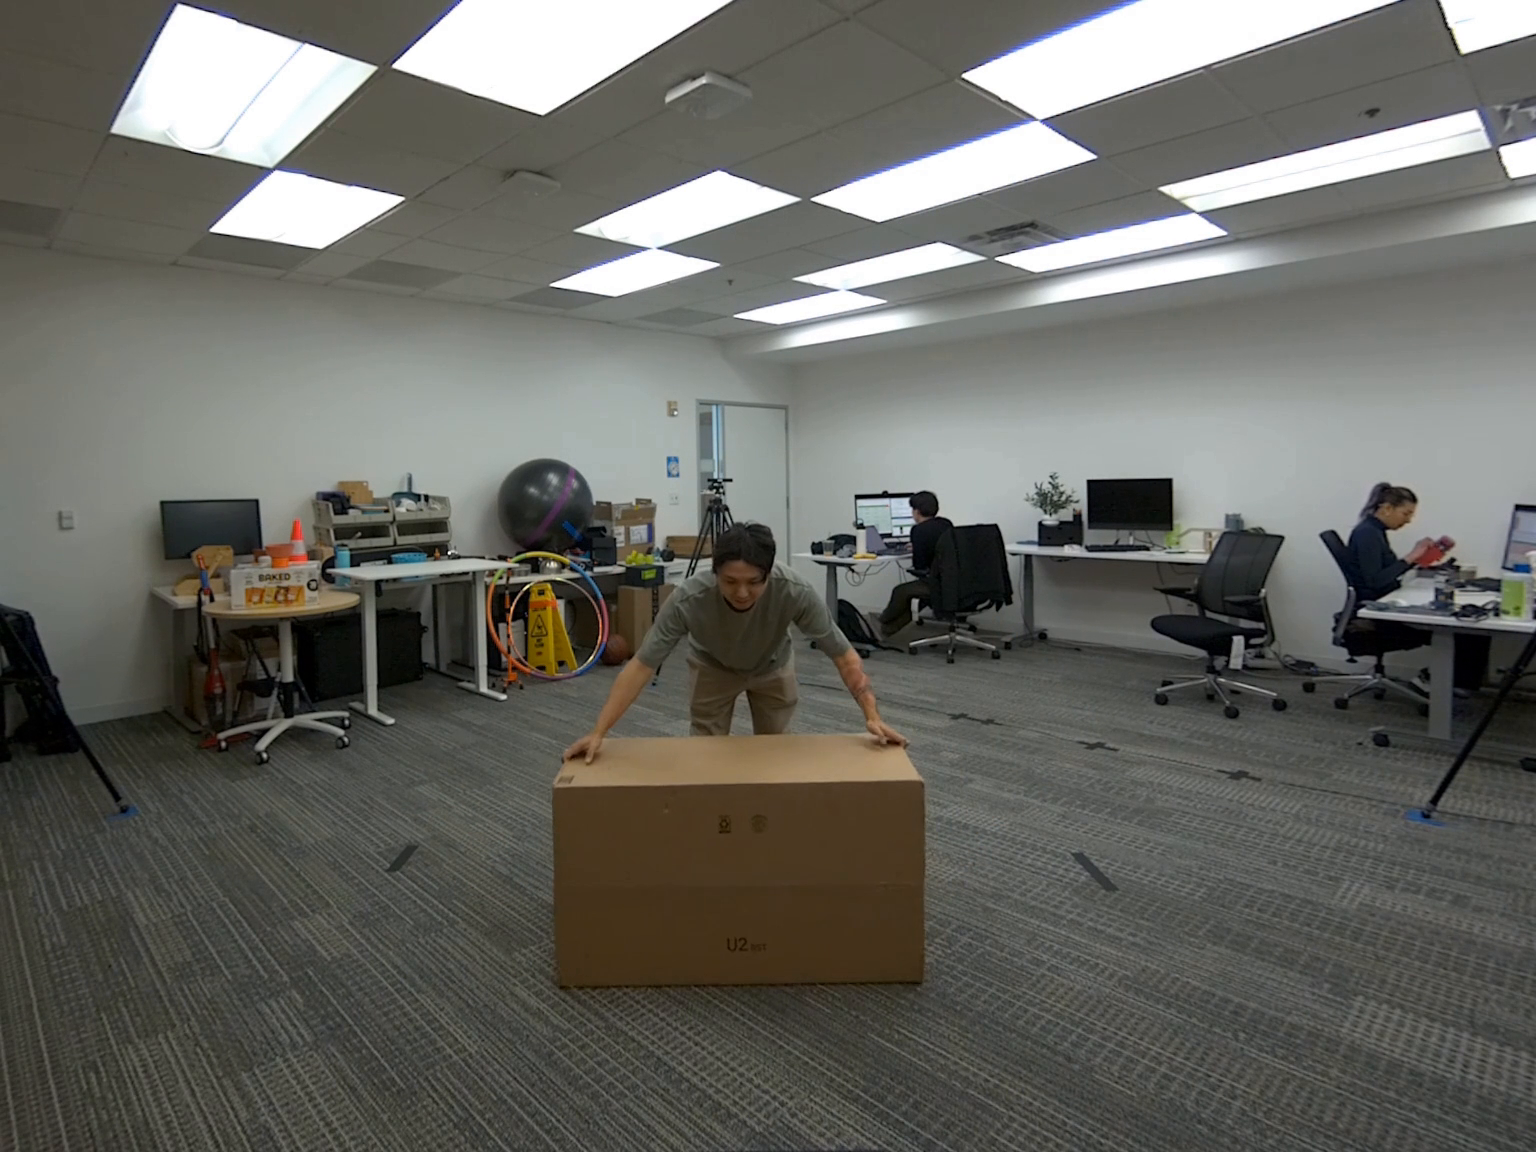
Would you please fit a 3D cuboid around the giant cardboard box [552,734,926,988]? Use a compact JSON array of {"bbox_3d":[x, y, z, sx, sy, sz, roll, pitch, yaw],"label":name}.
[{"bbox_3d":[-0.071,0.806,2.545,1.026,0.576,0.428,-2,4,0],"label":"giant cardboard box"}]
